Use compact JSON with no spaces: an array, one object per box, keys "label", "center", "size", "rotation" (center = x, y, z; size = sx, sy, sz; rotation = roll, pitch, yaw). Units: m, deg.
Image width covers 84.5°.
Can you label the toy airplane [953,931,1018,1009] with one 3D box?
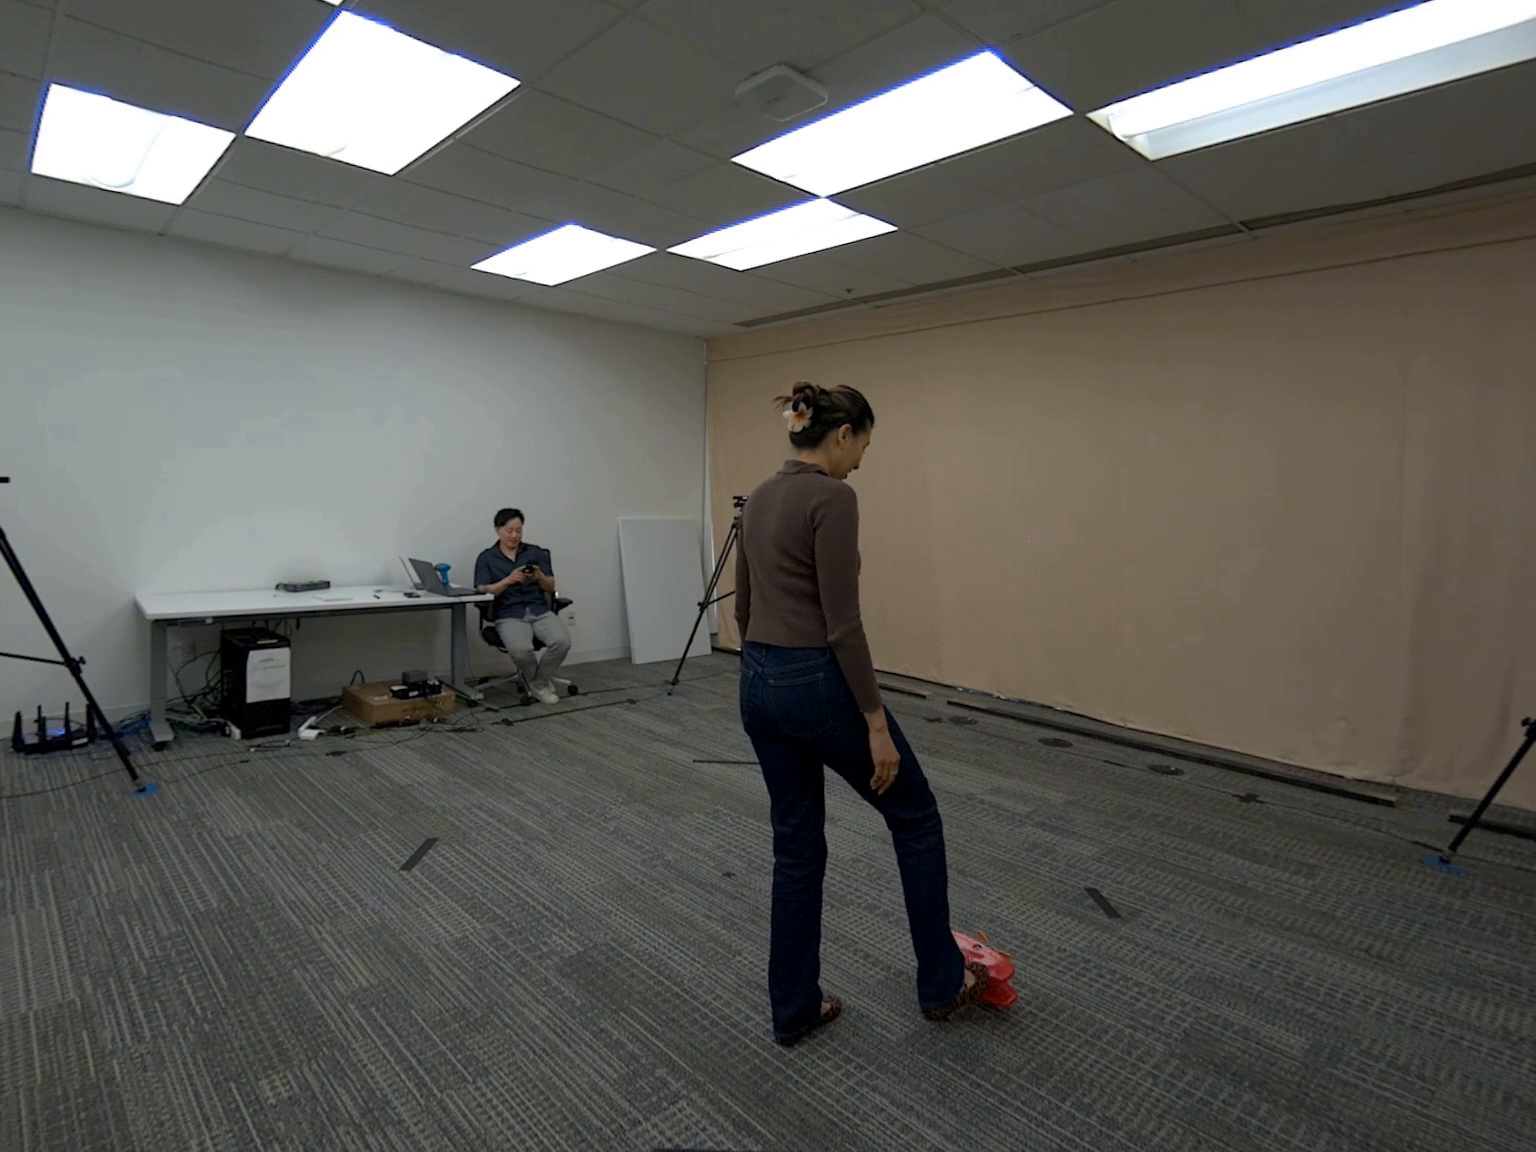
[{"label":"toy airplane","center":[0.554,1.118,2.321],"size":[0.256,0.156,0.254],"rotation":[5,5,26]}]
